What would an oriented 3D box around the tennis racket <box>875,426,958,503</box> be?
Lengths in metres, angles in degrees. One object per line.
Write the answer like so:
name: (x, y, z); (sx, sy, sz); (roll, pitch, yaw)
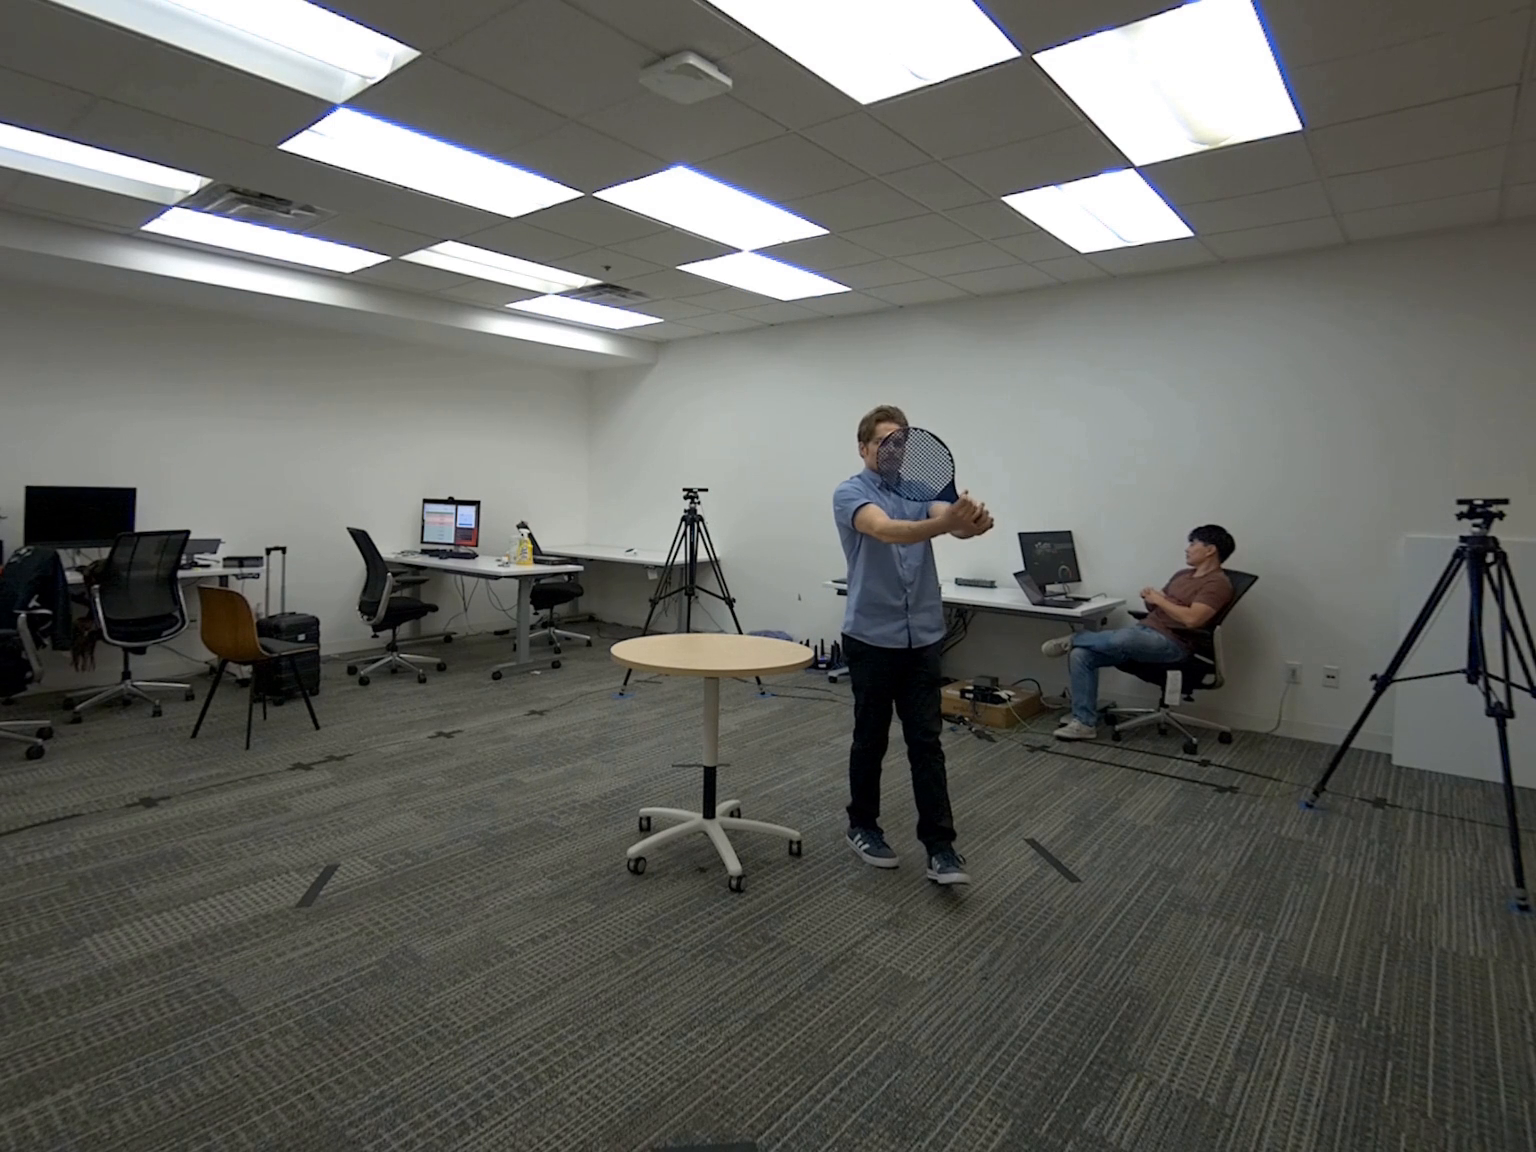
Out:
tennis racket: (0.520, -0.297, 2.637); (0.423, 0.214, 0.032); (38, 12, -16)
